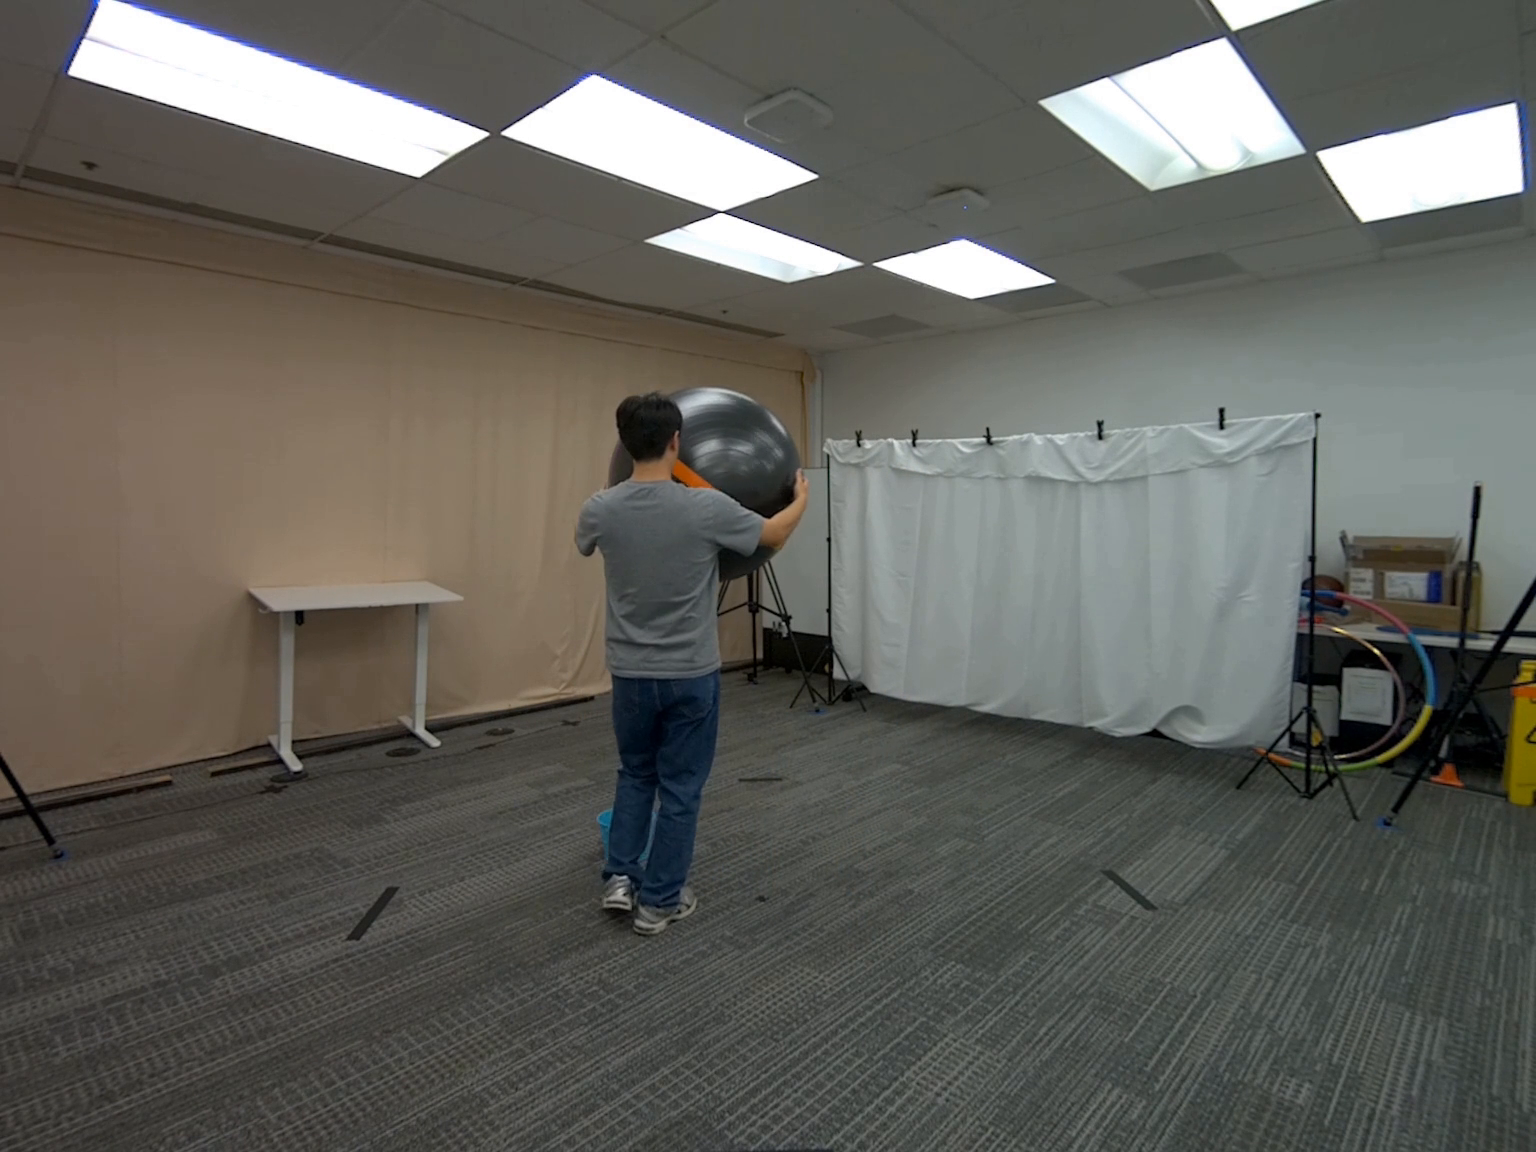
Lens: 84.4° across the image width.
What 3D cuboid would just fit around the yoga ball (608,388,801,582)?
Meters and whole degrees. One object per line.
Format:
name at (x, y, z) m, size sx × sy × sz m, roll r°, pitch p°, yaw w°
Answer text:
yoga ball at (-0.242, -0.347, 3.290) m, size 0.757 × 0.756 × 0.761 m, roll 0°, pitch 4°, yaw -2°
